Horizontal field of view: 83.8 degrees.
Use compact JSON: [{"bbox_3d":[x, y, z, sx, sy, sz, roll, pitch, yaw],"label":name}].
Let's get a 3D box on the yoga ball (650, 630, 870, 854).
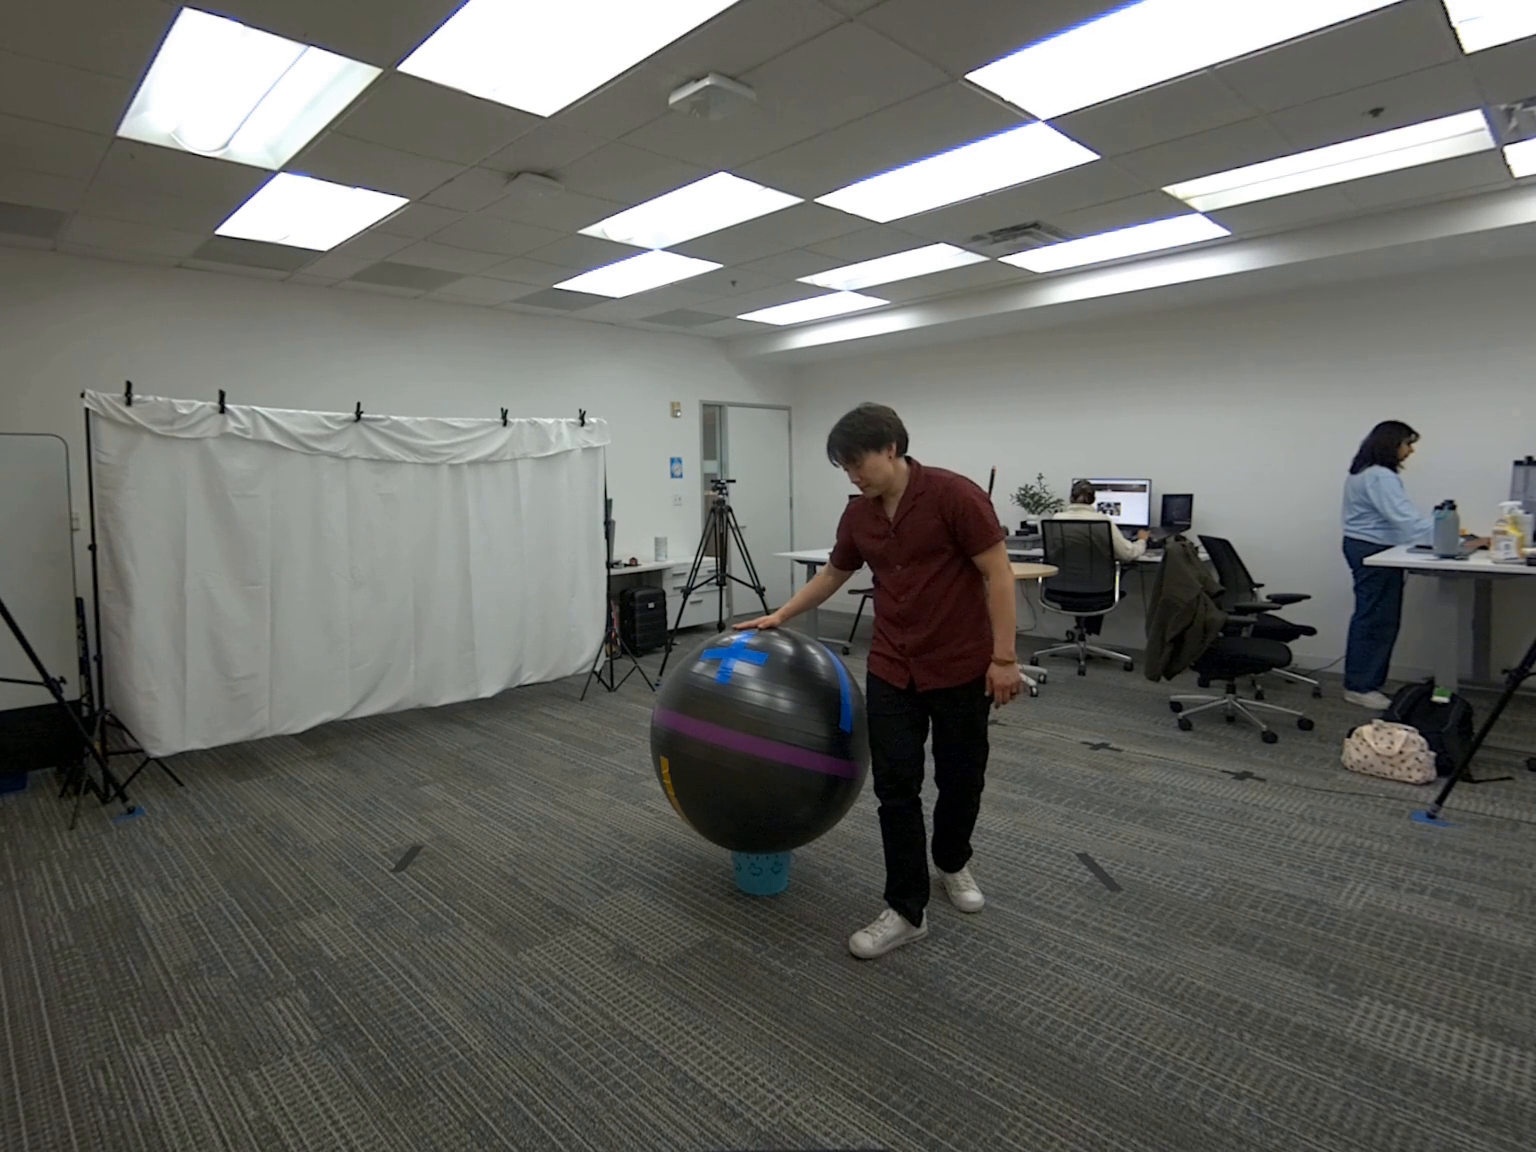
[{"bbox_3d":[-0.037,0.563,2.951,0.757,0.755,0.762,-1,5,-2],"label":"yoga ball"}]
